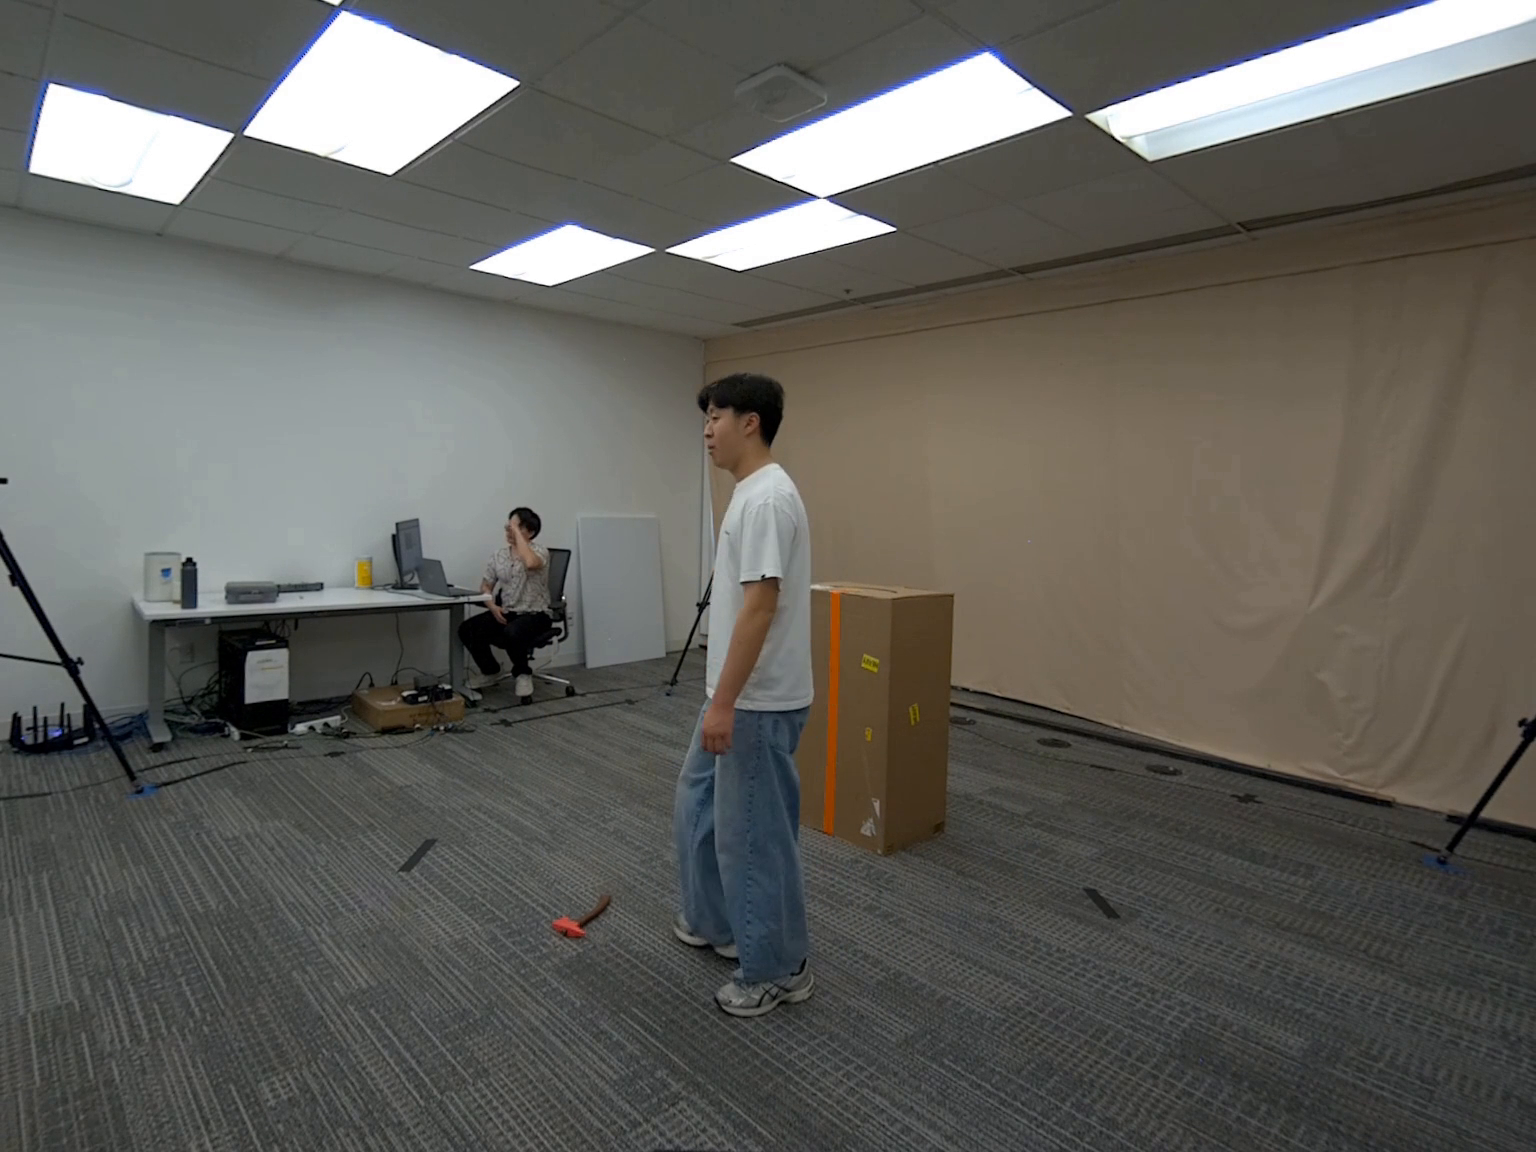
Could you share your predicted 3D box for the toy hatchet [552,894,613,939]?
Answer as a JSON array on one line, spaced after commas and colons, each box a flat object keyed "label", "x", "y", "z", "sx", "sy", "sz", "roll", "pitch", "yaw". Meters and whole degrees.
[{"label": "toy hatchet", "x": -0.623, "y": 1.114, "z": 2.772, "sx": 0.132, "sy": 0.029, "sz": 0.268, "roll": 1, "pitch": 3, "yaw": 8}]
